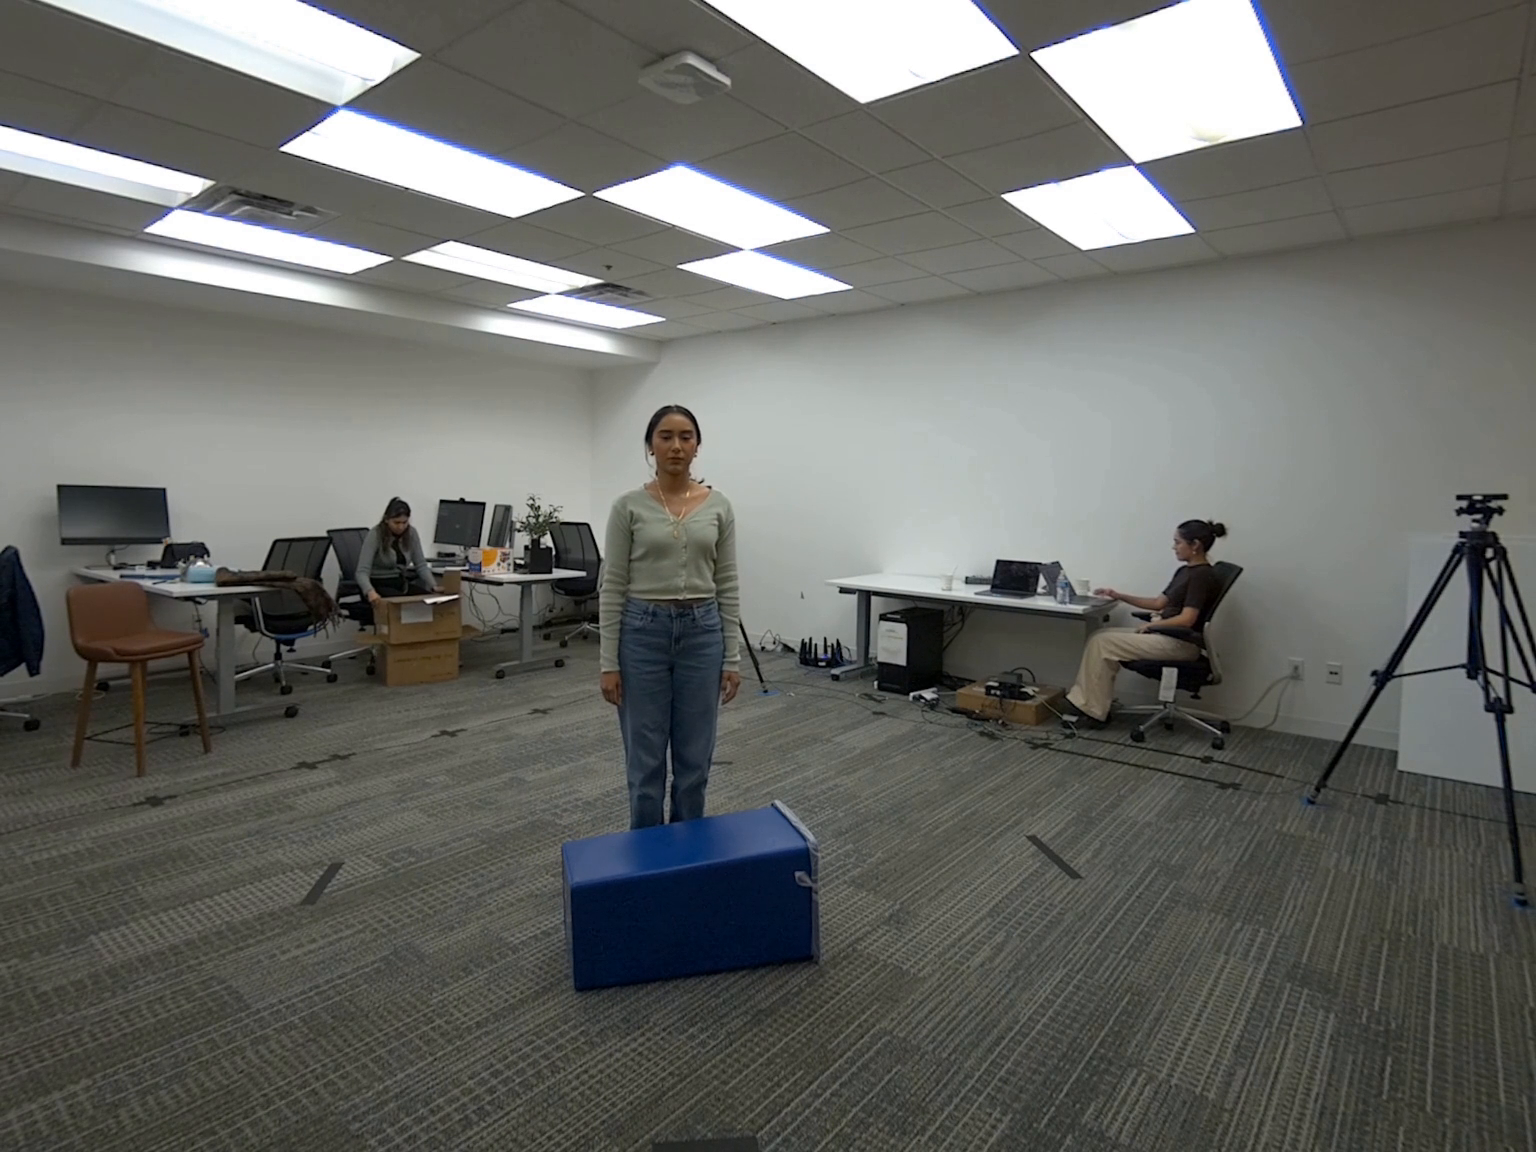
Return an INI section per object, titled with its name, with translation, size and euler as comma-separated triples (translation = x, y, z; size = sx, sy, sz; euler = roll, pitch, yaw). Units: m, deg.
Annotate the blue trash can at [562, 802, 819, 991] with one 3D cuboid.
[blue trash can]
translation = -0.248, 0.943, 2.555
size = 0.703, 0.377, 0.381
euler = -3, 4, -15
